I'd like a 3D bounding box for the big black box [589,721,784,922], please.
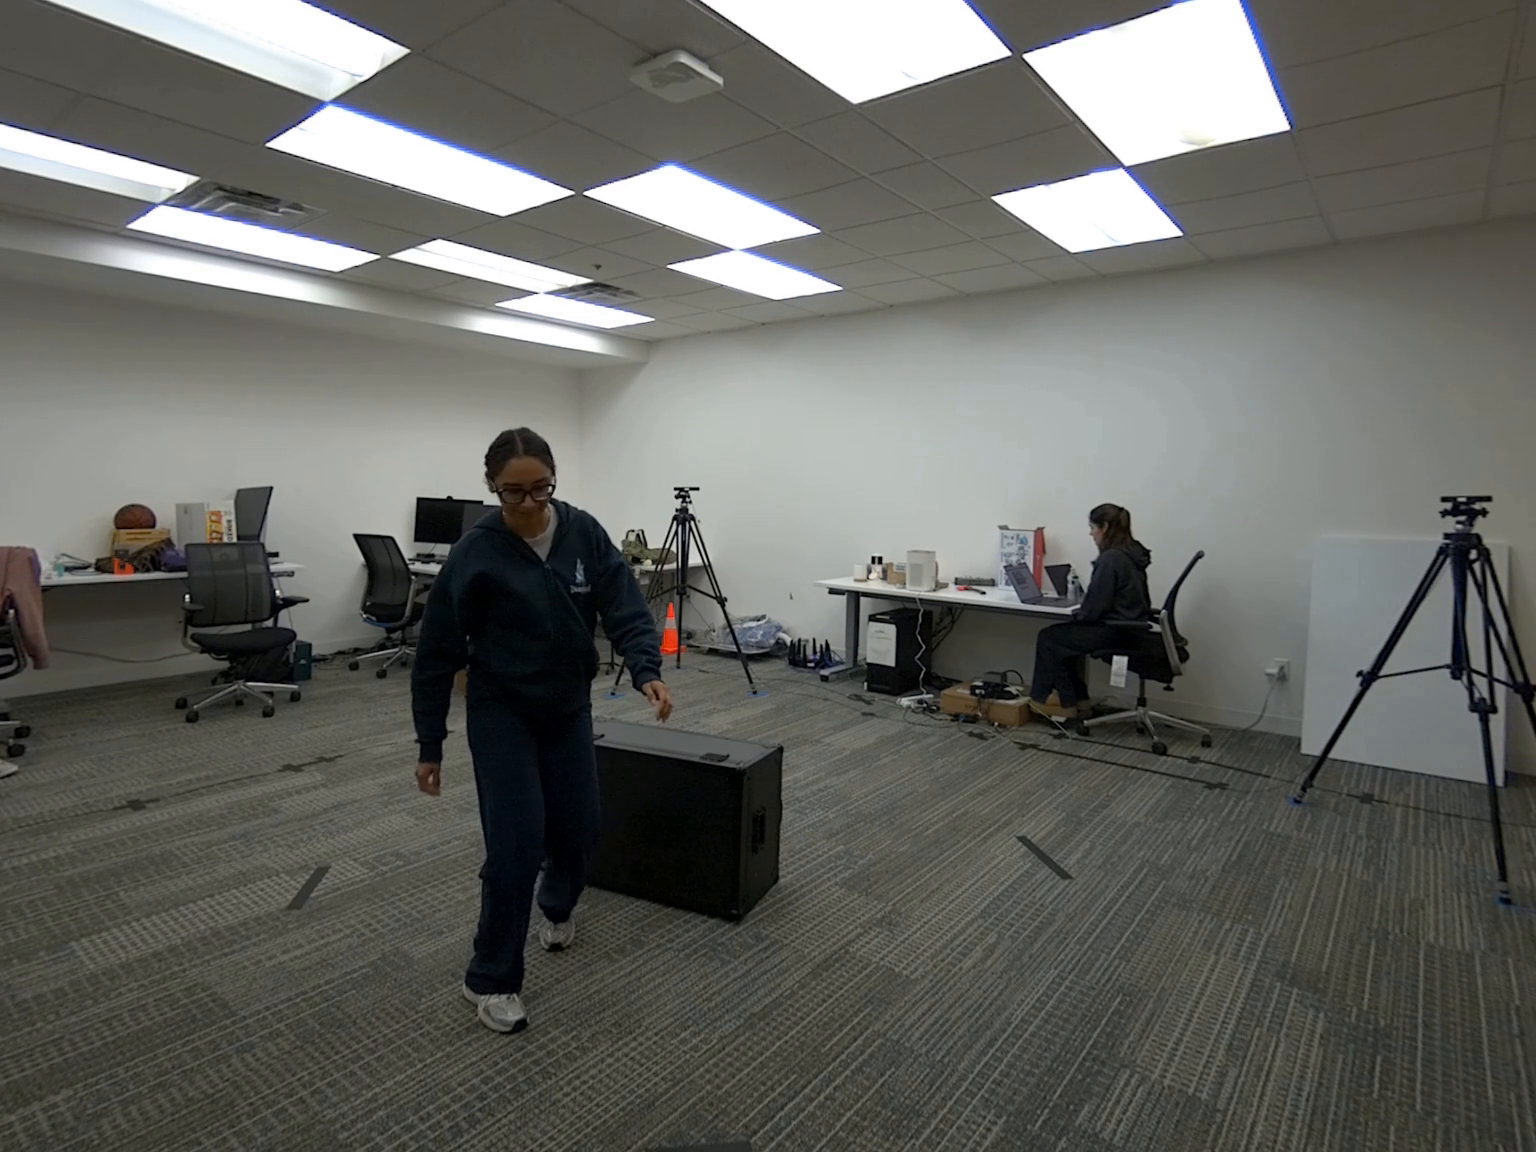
[{"bbox_3d":[-0.410,0.814,3.048,0.883,0.521,0.387,3,2,24],"label":"big black box"}]
